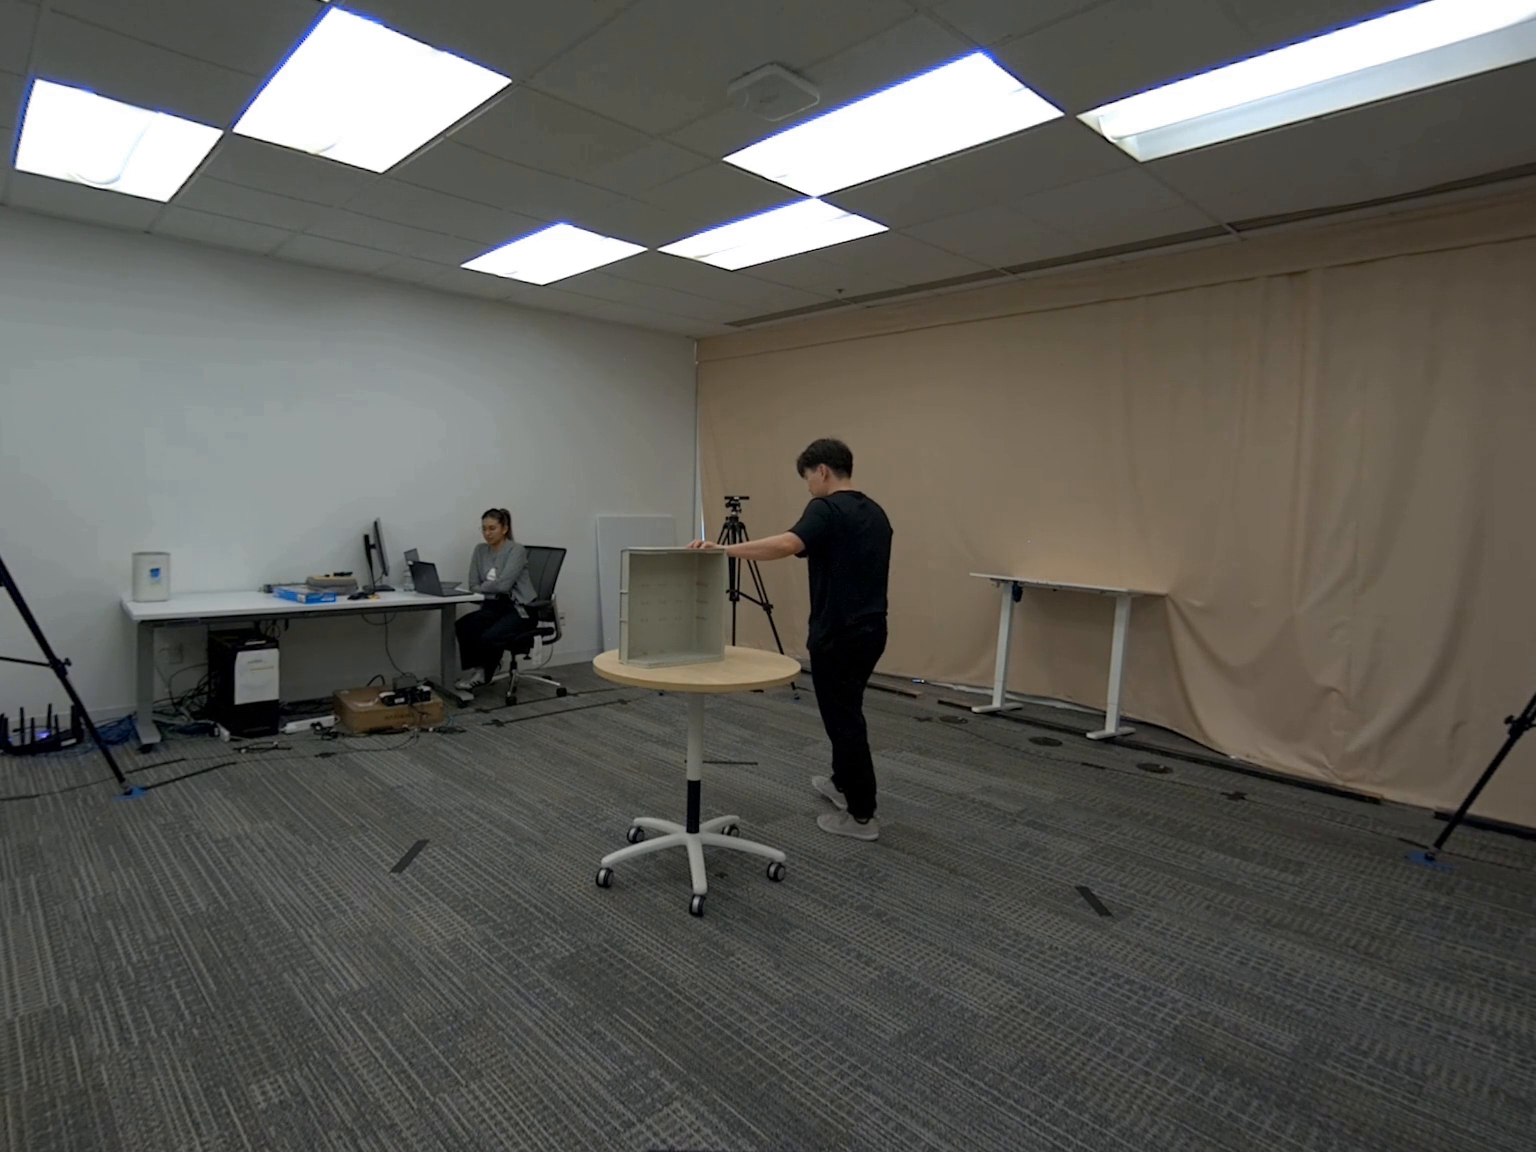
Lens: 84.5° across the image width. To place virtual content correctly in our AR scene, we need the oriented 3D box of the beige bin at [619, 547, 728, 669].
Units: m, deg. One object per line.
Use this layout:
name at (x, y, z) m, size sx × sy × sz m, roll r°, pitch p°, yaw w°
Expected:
beige bin at (-0.371, 0.107, 3.106) m, size 0.369 × 0.422 × 0.193 m, roll -1°, pitch 3°, yaw -41°
